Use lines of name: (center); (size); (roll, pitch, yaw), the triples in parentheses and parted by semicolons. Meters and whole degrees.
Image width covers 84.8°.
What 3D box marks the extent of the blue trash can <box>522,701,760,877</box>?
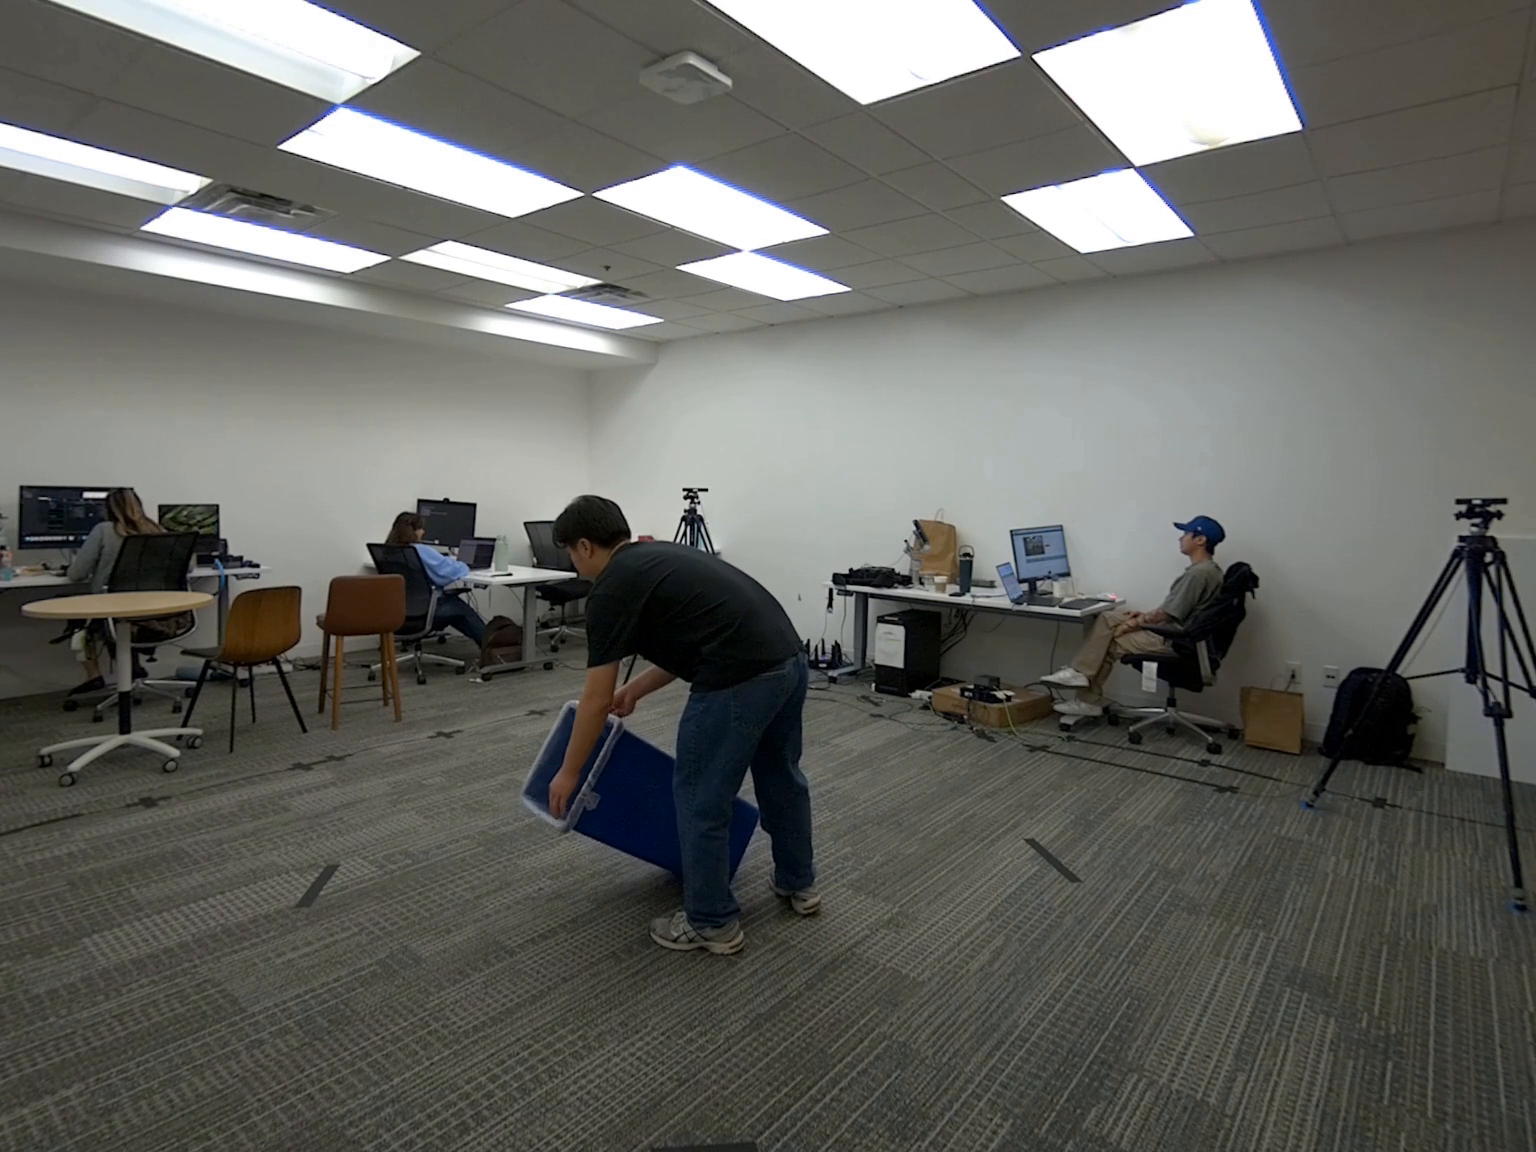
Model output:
blue trash can: (-0.426, 0.766, 2.896); (0.687, 0.380, 0.386); (38, -20, -32)
